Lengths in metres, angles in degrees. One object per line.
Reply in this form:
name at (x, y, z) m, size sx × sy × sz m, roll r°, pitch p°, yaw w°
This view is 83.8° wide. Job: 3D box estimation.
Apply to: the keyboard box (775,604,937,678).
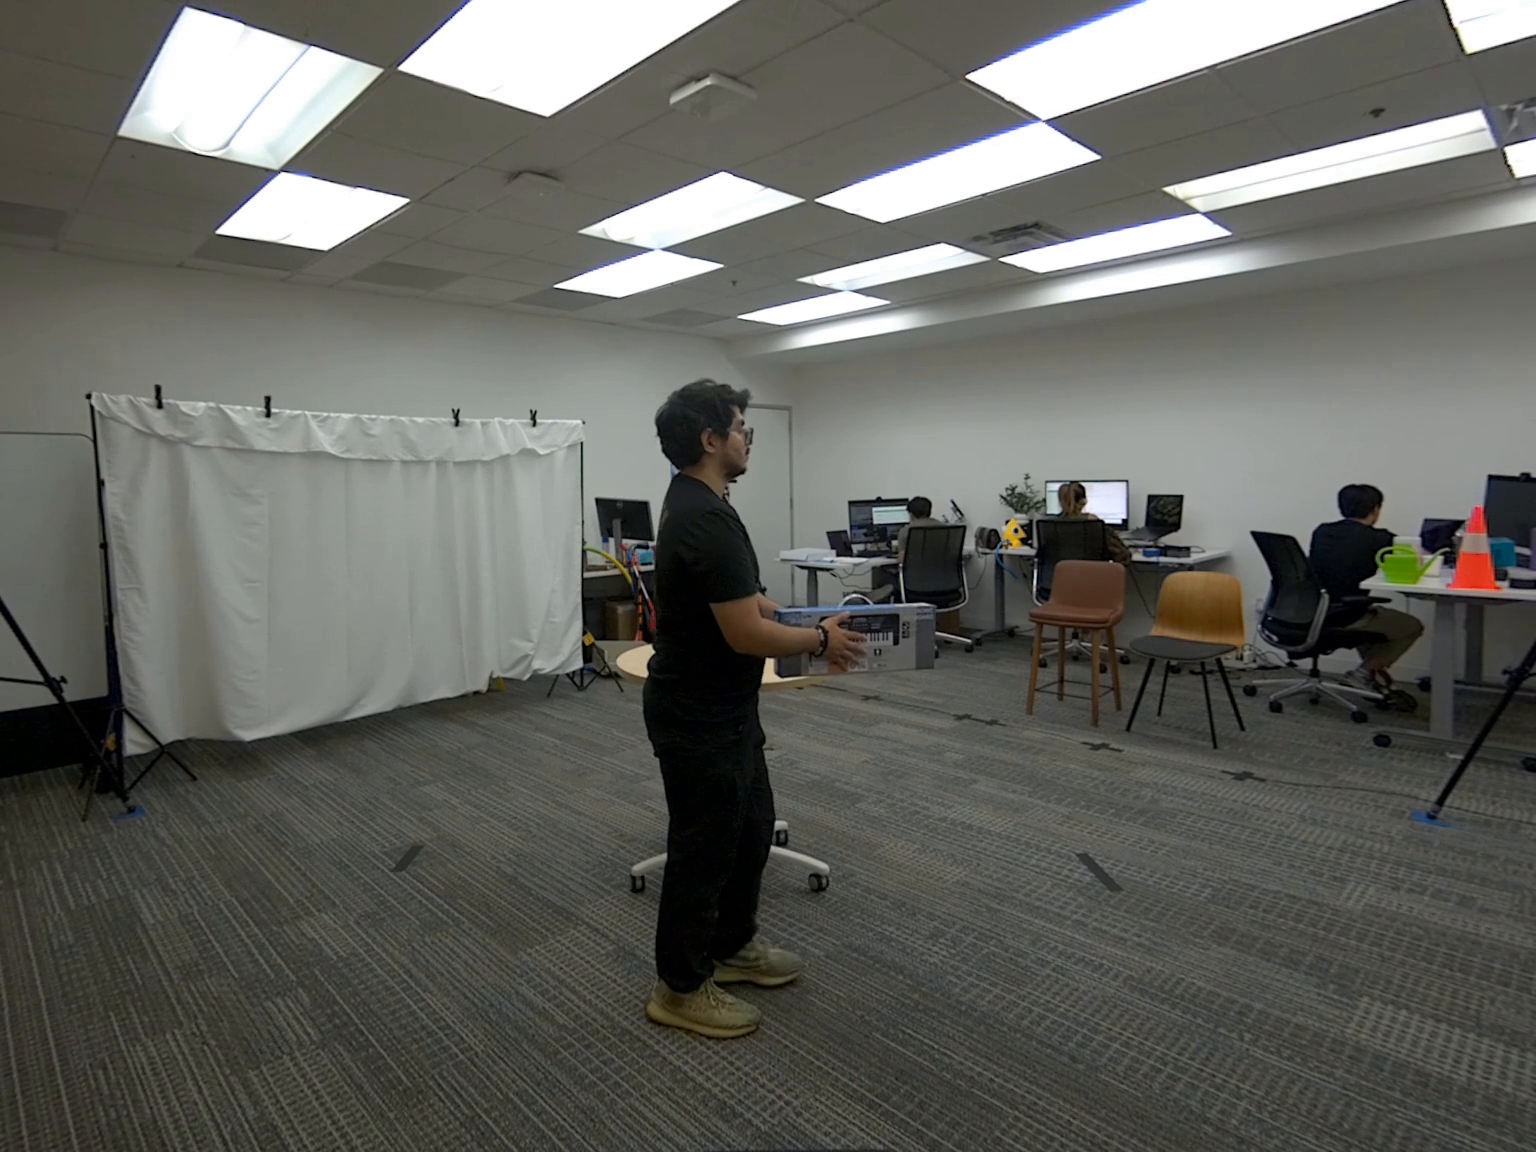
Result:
keyboard box at (0.233, 0.168, 2.257) m, size 0.431 × 0.175 × 0.060 m, roll -2°, pitch 3°, yaw -14°
